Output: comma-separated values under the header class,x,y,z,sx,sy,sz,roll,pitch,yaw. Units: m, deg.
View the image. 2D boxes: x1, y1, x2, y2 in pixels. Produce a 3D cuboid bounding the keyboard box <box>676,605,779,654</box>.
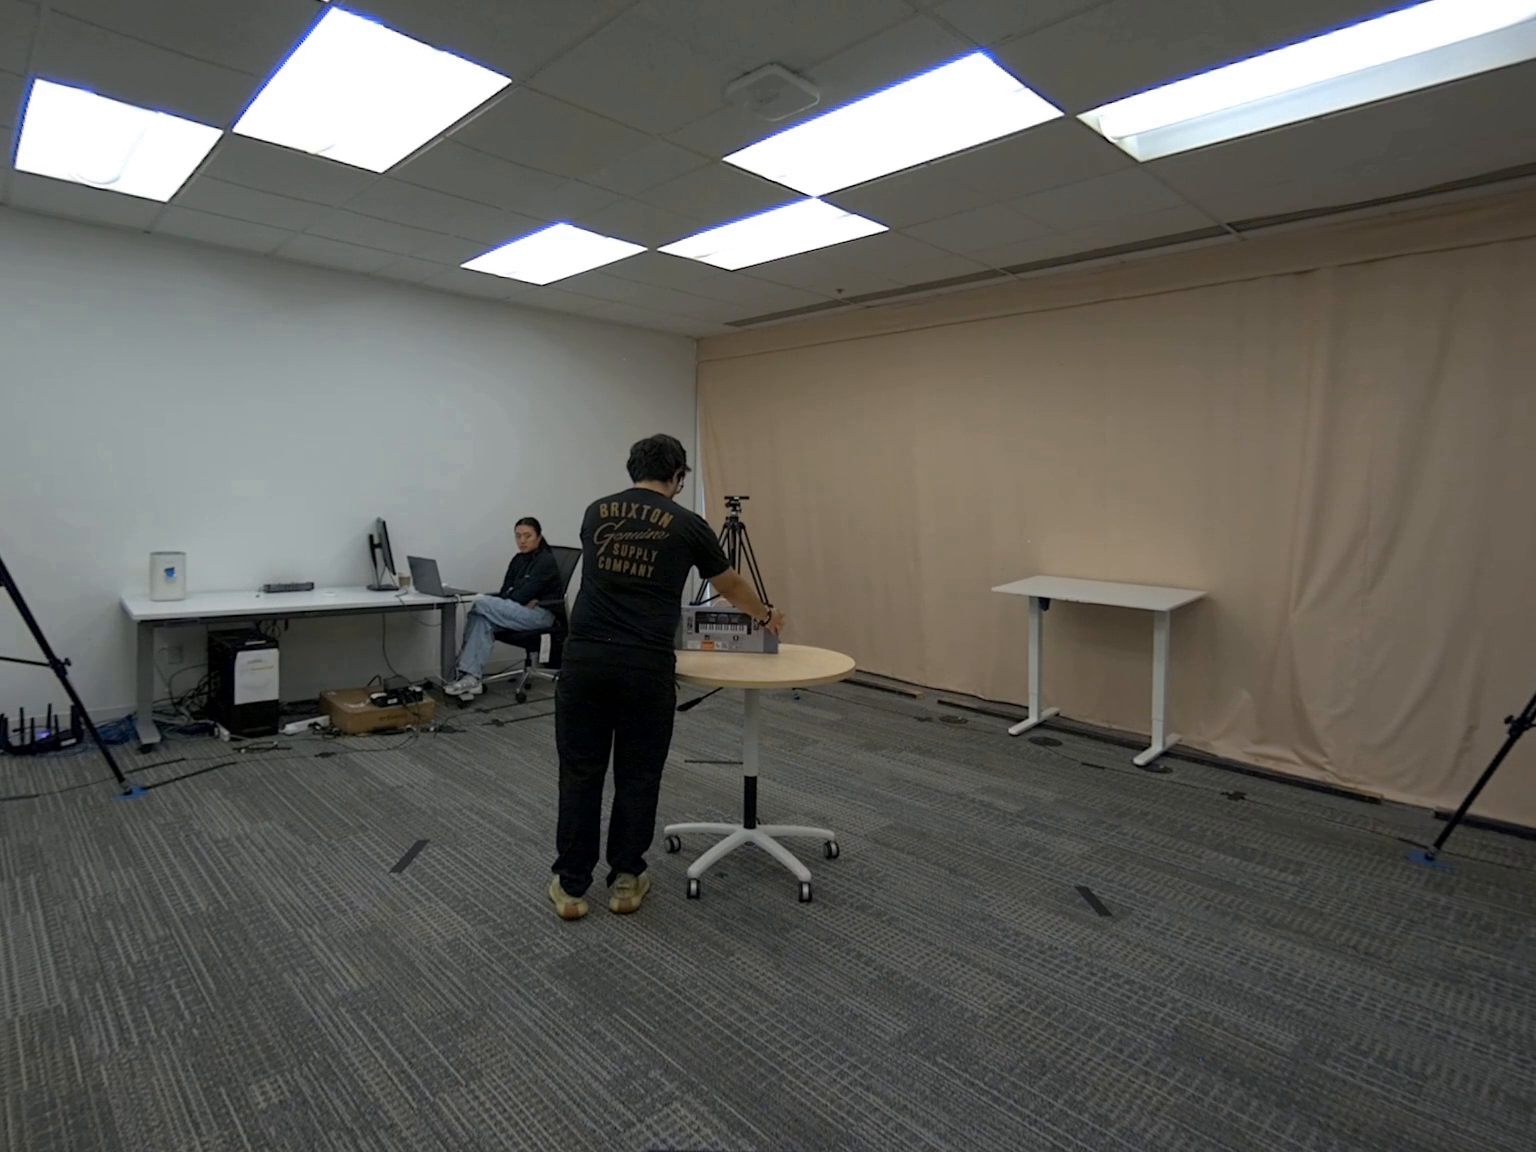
class,x,y,z,sx,sy,sz,roll,pitch,yaw
keyboard box,-0.181,0.208,3.353,0.440,0.176,0.059,2,-1,8
